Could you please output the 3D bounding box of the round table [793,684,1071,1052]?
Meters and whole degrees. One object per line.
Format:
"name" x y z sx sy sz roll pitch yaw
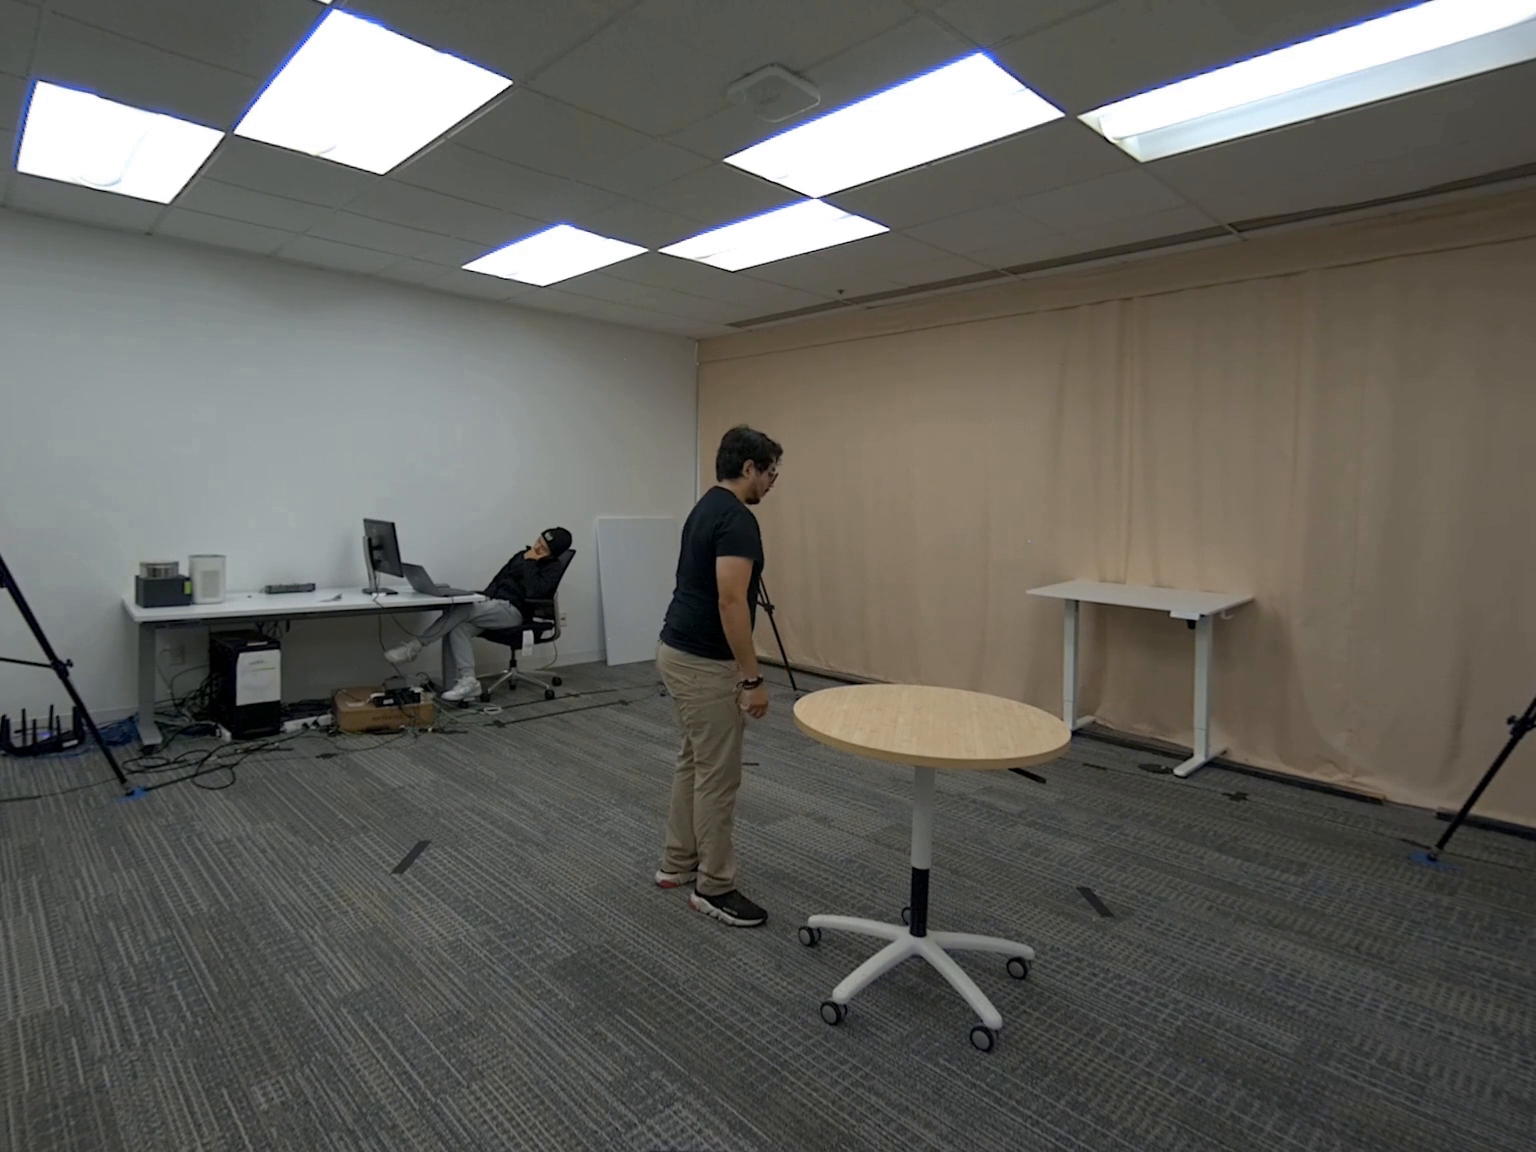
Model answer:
"round table" 0.441 0.787 2.446 0.784 0.784 0.788 2 5 -2
